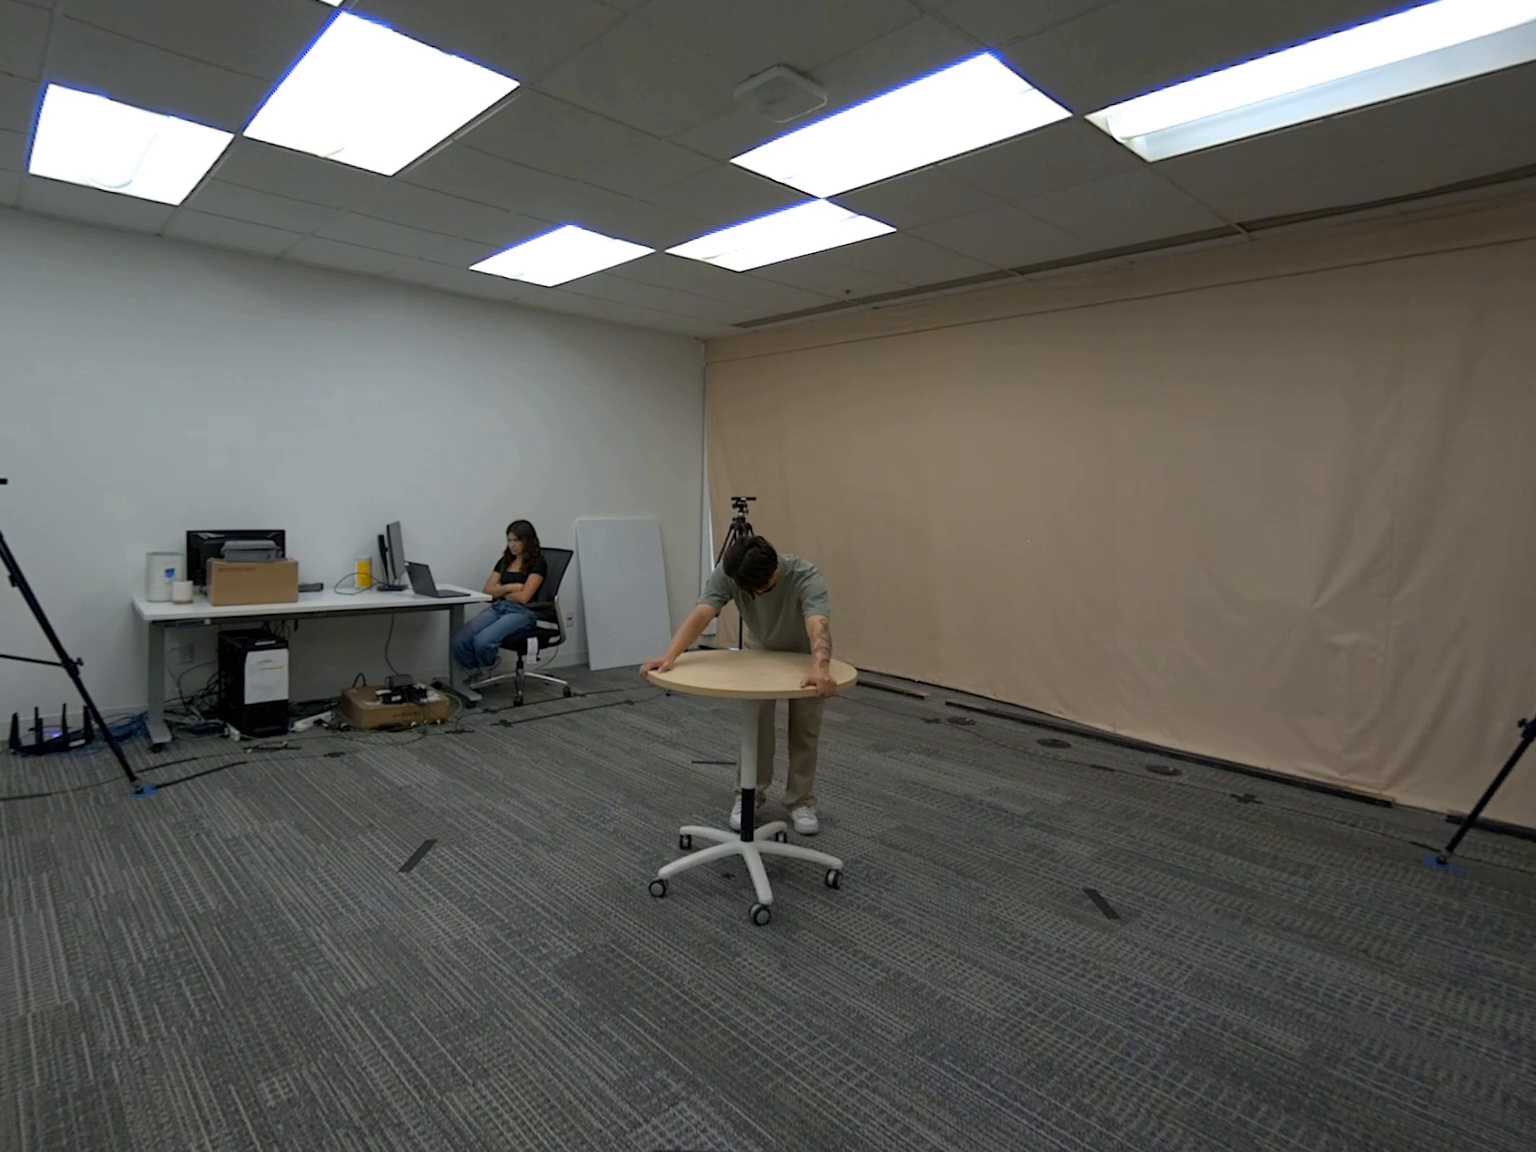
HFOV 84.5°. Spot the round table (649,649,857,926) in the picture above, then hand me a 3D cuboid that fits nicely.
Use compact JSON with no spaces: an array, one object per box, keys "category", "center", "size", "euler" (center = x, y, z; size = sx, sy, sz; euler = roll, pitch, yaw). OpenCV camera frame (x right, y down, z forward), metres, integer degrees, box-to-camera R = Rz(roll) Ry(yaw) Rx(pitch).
[{"category":"round table","center":[-0.073,0.723,3.069],"size":[0.784,0.785,0.787],"euler":[1,3,-1]}]
